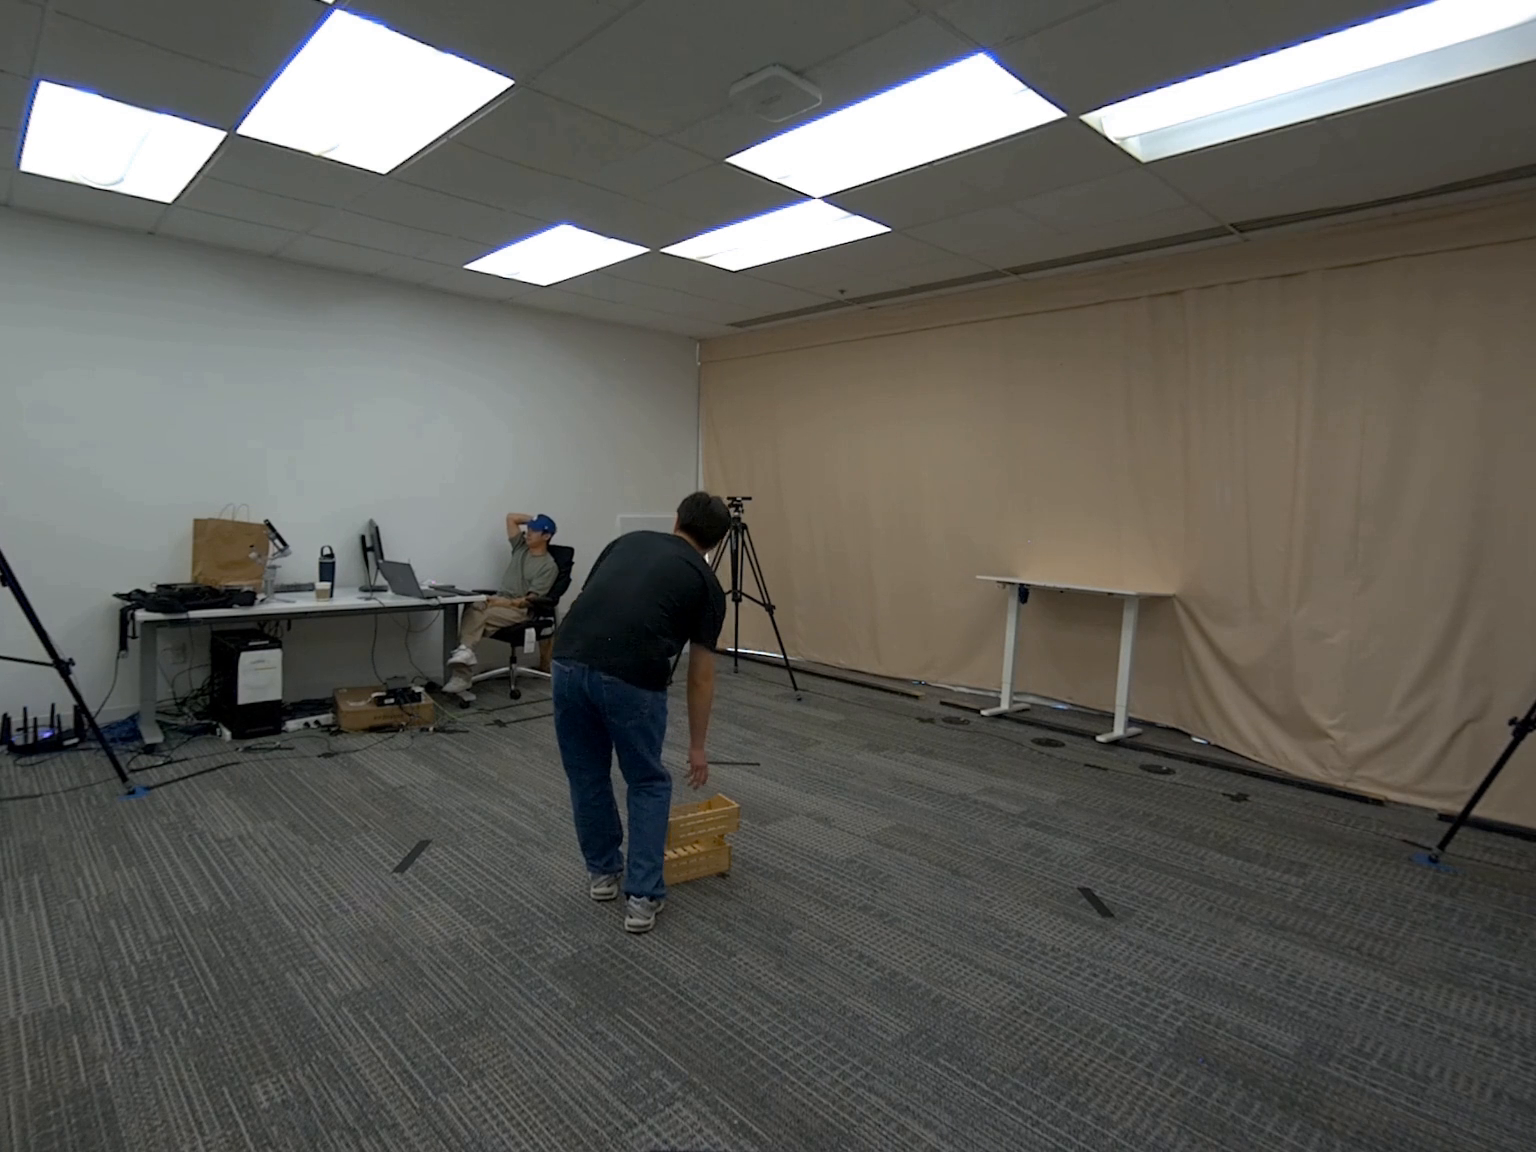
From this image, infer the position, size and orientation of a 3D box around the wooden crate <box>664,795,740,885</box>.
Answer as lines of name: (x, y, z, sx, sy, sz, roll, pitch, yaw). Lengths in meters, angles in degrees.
wooden crate: (-0.320, 0.965, 3.155, 0.317, 0.272, 0.309, -2, 6, -34)
